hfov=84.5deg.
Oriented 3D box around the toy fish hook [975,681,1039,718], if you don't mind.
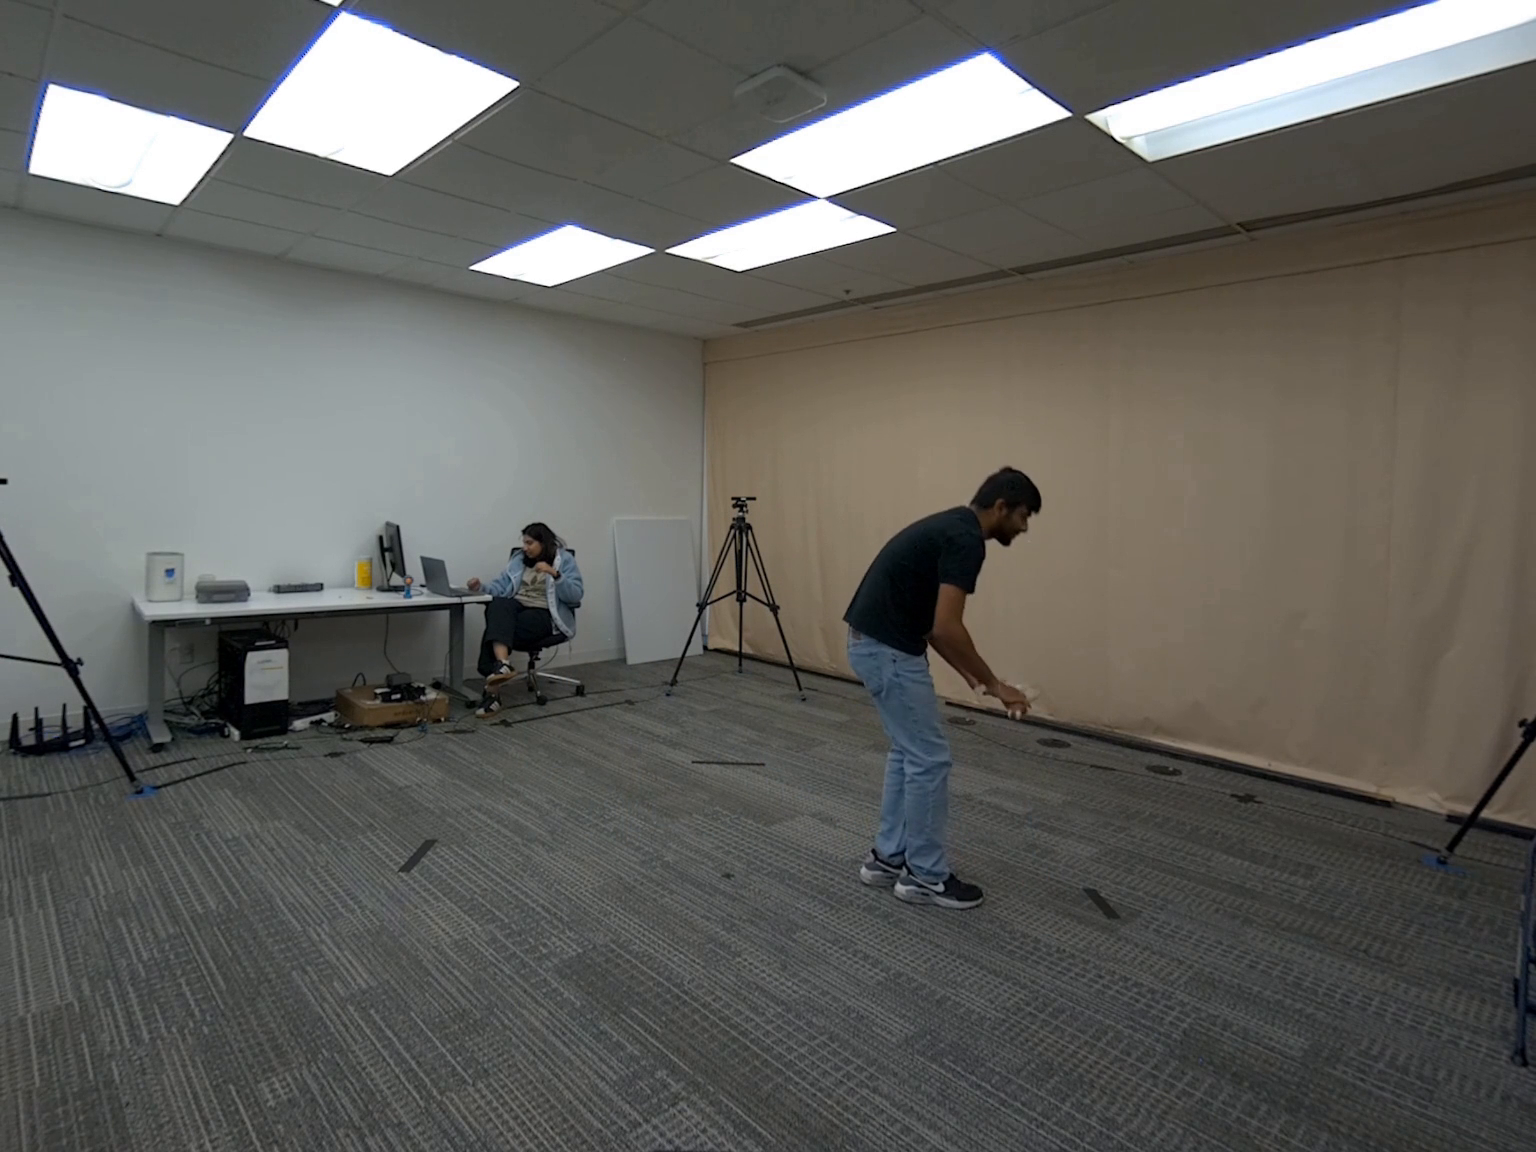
[{"bbox_3d":[0.816,0.449,2.944,0.228,0.048,0.500,-3,3,19],"label":"toy fish hook"}]
